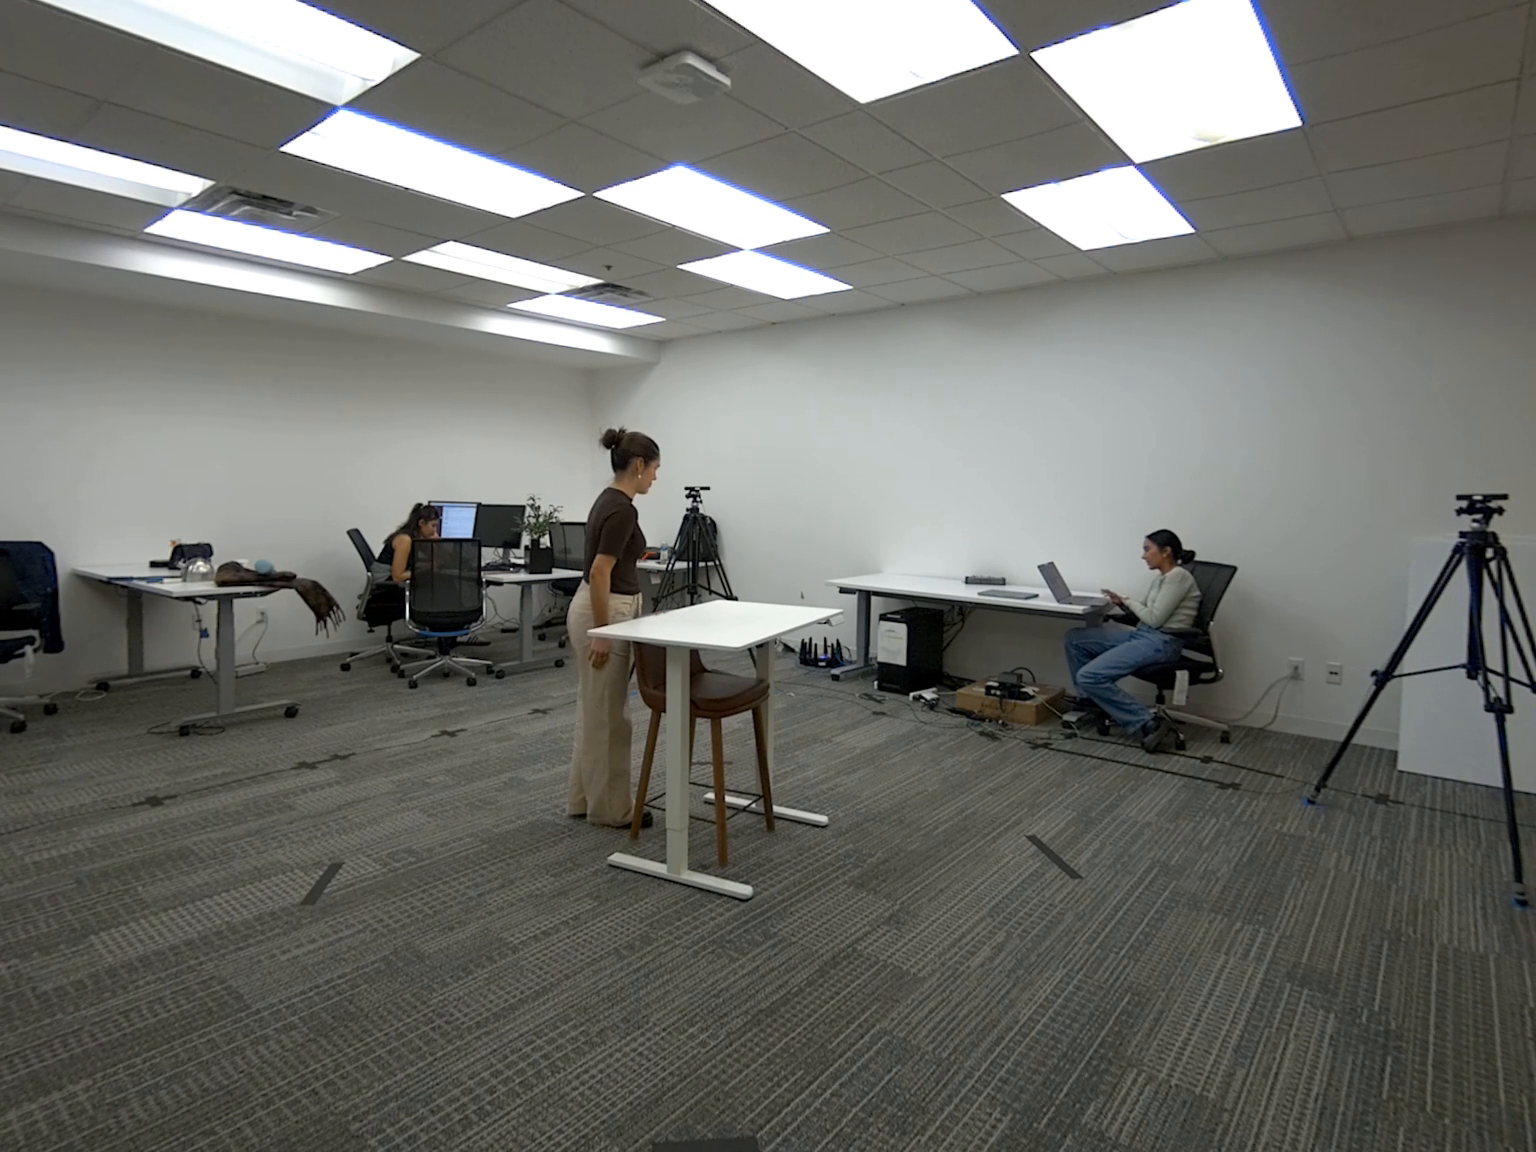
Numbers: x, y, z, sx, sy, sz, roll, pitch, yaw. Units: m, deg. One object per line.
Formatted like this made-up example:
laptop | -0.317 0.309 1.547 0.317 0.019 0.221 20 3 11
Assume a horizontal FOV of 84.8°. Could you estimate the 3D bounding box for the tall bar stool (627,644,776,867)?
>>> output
tall bar stool | -0.275 0.604 3.386 0.480 0.888 0.445 0 2 29
